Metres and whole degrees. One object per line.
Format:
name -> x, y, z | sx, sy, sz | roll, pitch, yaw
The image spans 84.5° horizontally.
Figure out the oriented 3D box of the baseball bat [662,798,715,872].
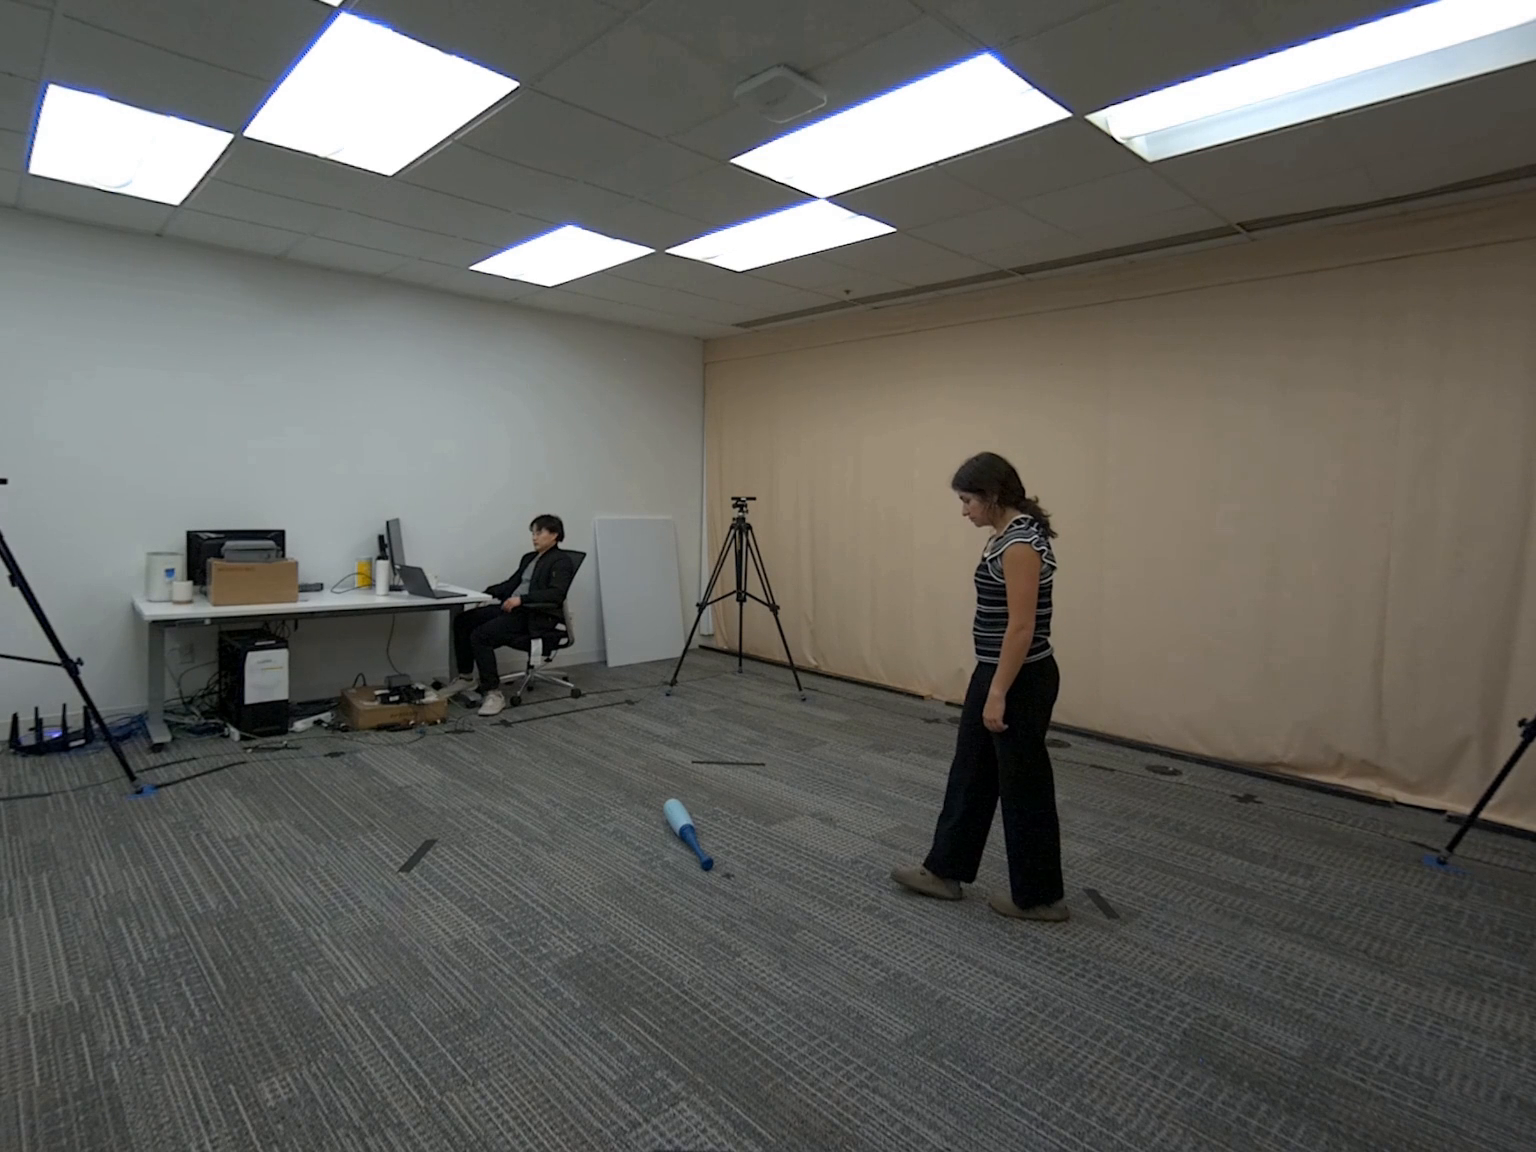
baseball bat -> -0.332, 1.042, 3.391 | 0.088, 0.088, 0.553 | 0, 8, -19
